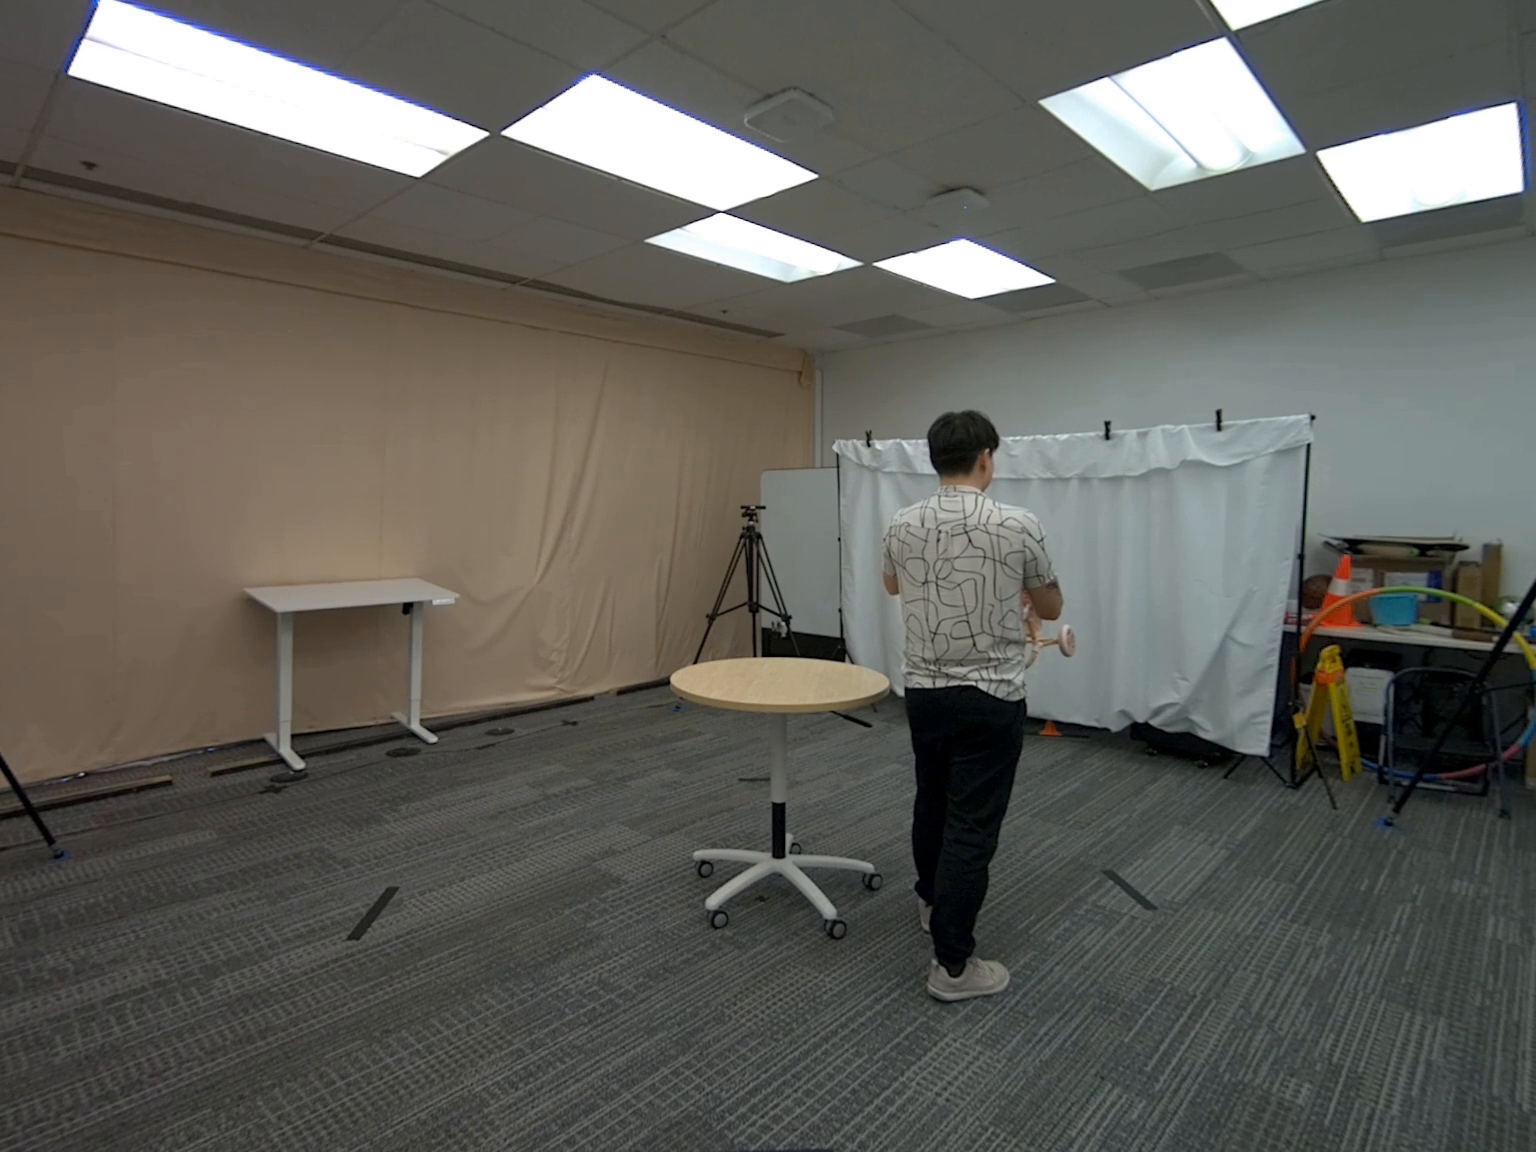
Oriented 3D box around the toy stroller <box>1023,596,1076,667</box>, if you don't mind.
[{"bbox_3d":[0.822,0.113,2.862,0.333,0.532,0.290,-19,8,-42],"label":"toy stroller"}]
